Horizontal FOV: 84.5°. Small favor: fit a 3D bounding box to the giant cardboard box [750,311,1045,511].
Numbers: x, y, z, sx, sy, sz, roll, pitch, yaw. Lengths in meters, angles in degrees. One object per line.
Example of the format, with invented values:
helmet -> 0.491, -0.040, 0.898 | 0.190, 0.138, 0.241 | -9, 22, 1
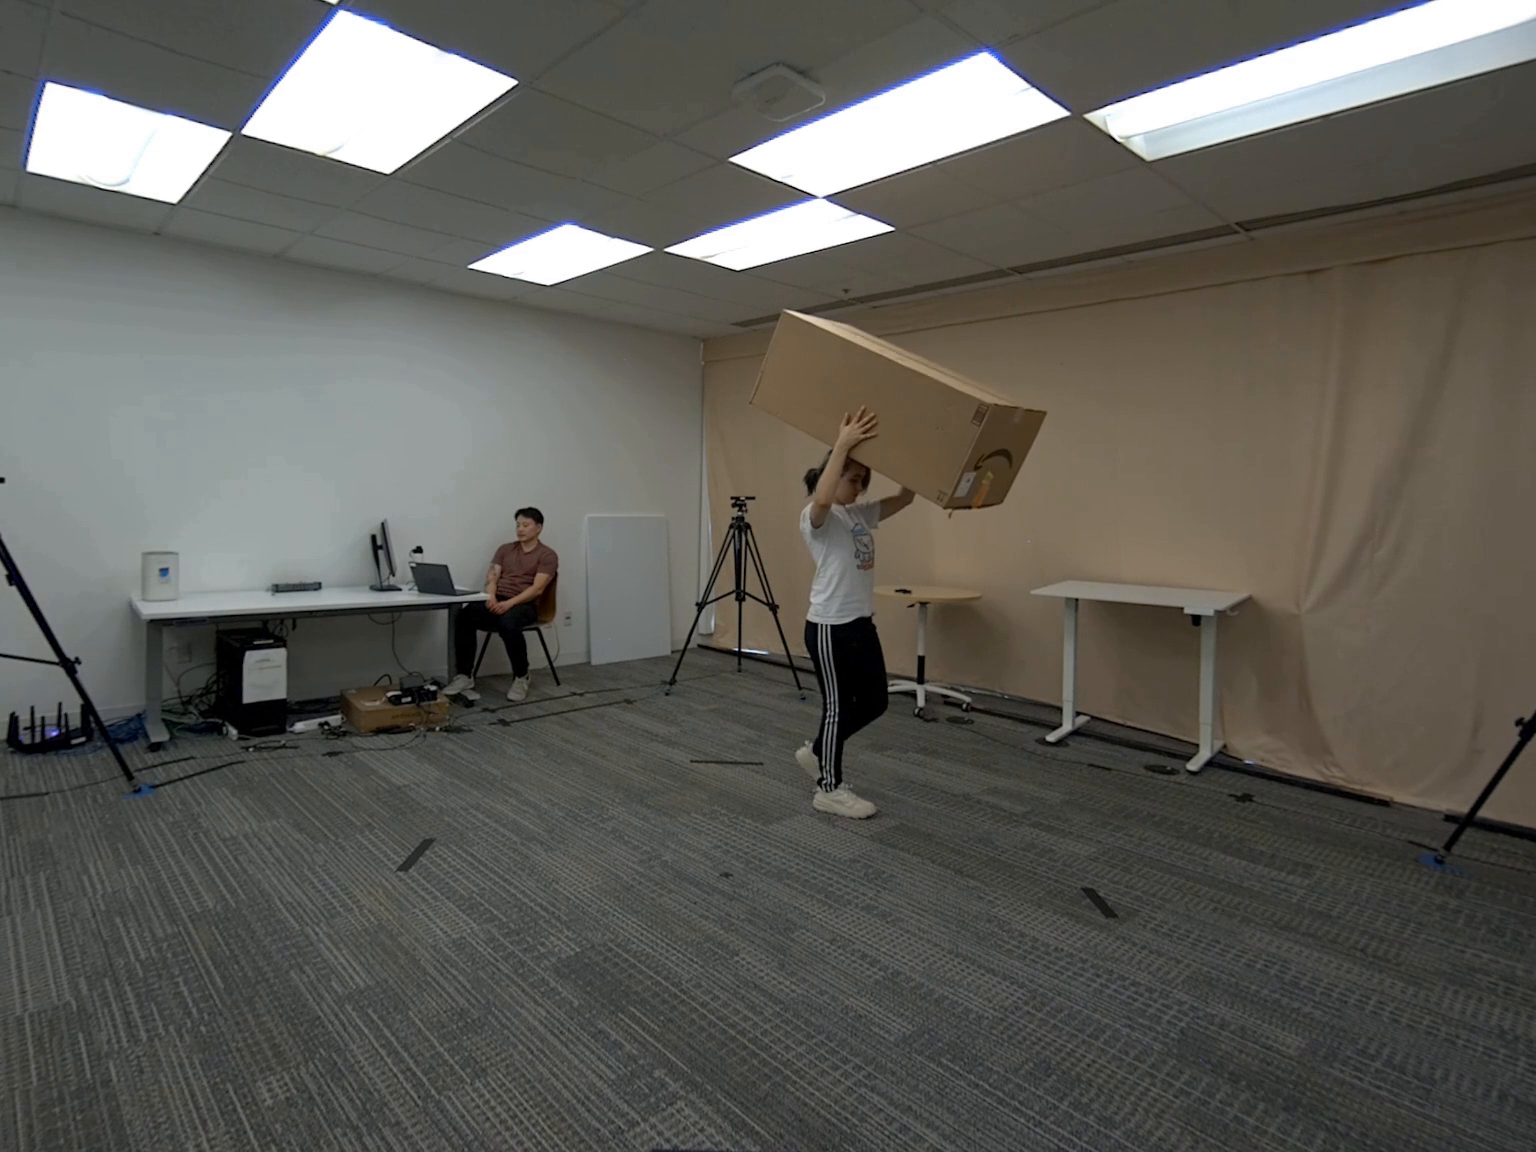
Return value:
giant cardboard box -> 0.520, -0.702, 3.554 | 1.056, 0.443, 0.572 | 35, 24, 30
